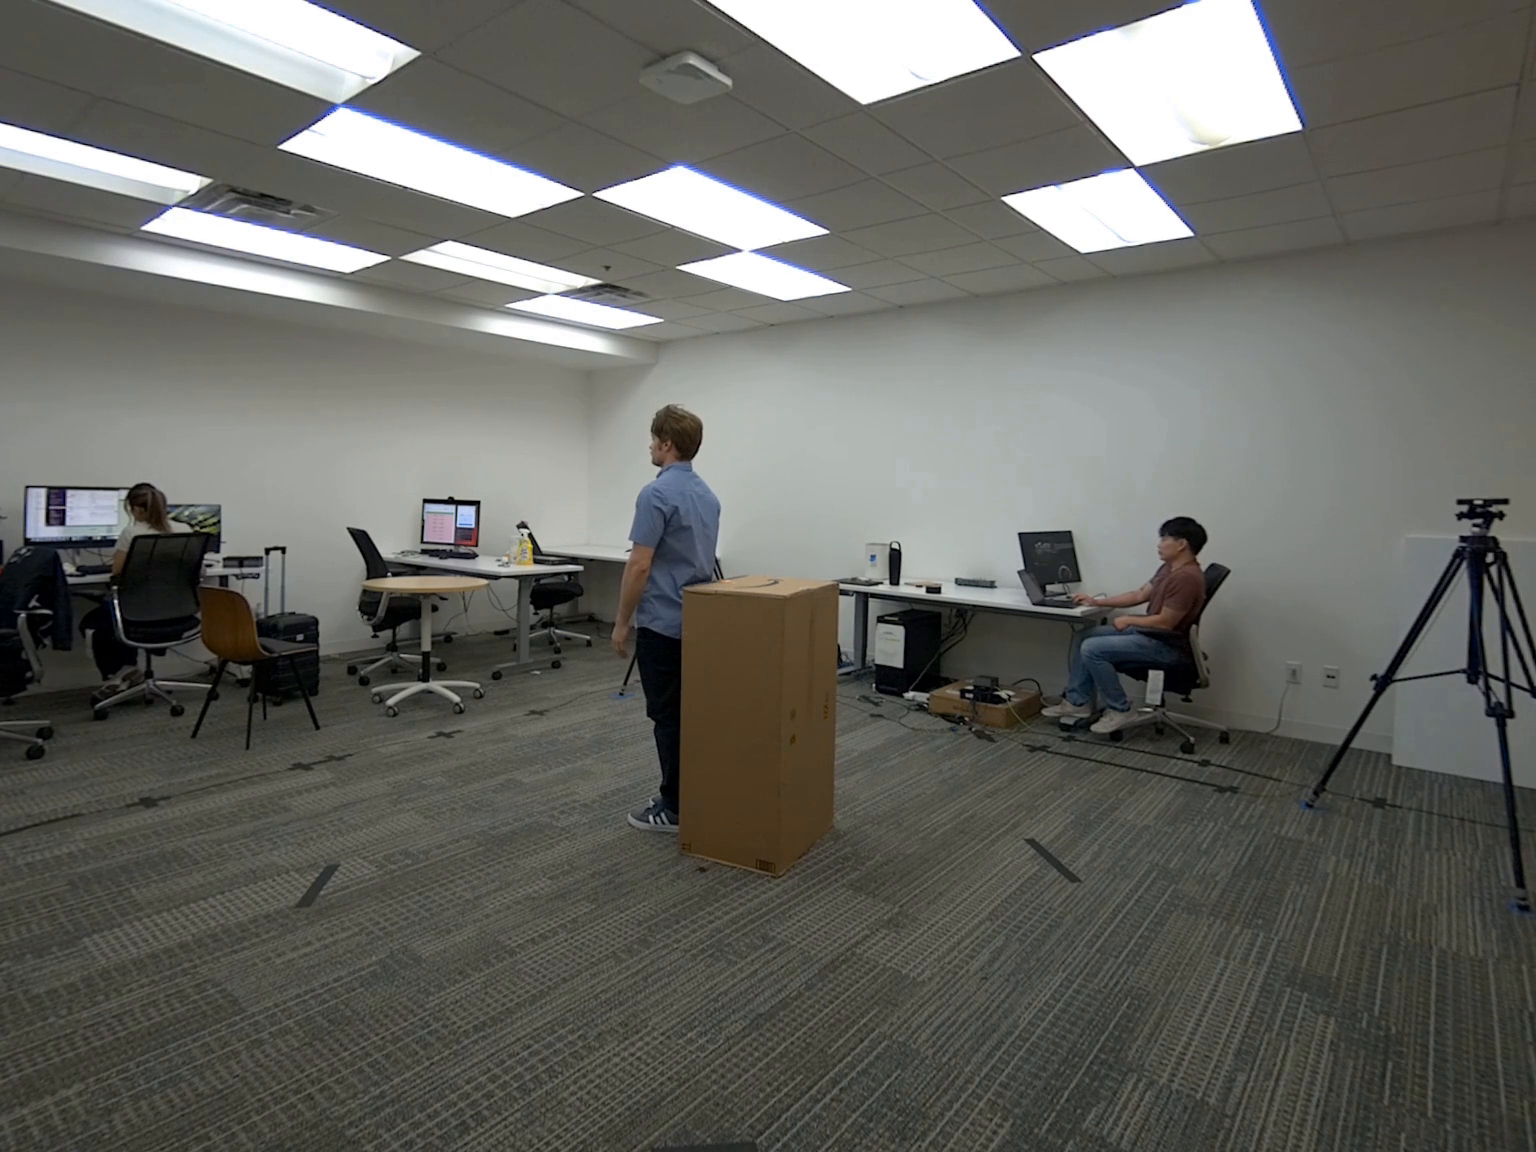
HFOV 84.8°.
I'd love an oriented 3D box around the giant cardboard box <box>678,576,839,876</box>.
[{"bbox_3d":[-0.031,0.543,3.367,0.459,1.024,0.571,3,4,25],"label":"giant cardboard box"}]
